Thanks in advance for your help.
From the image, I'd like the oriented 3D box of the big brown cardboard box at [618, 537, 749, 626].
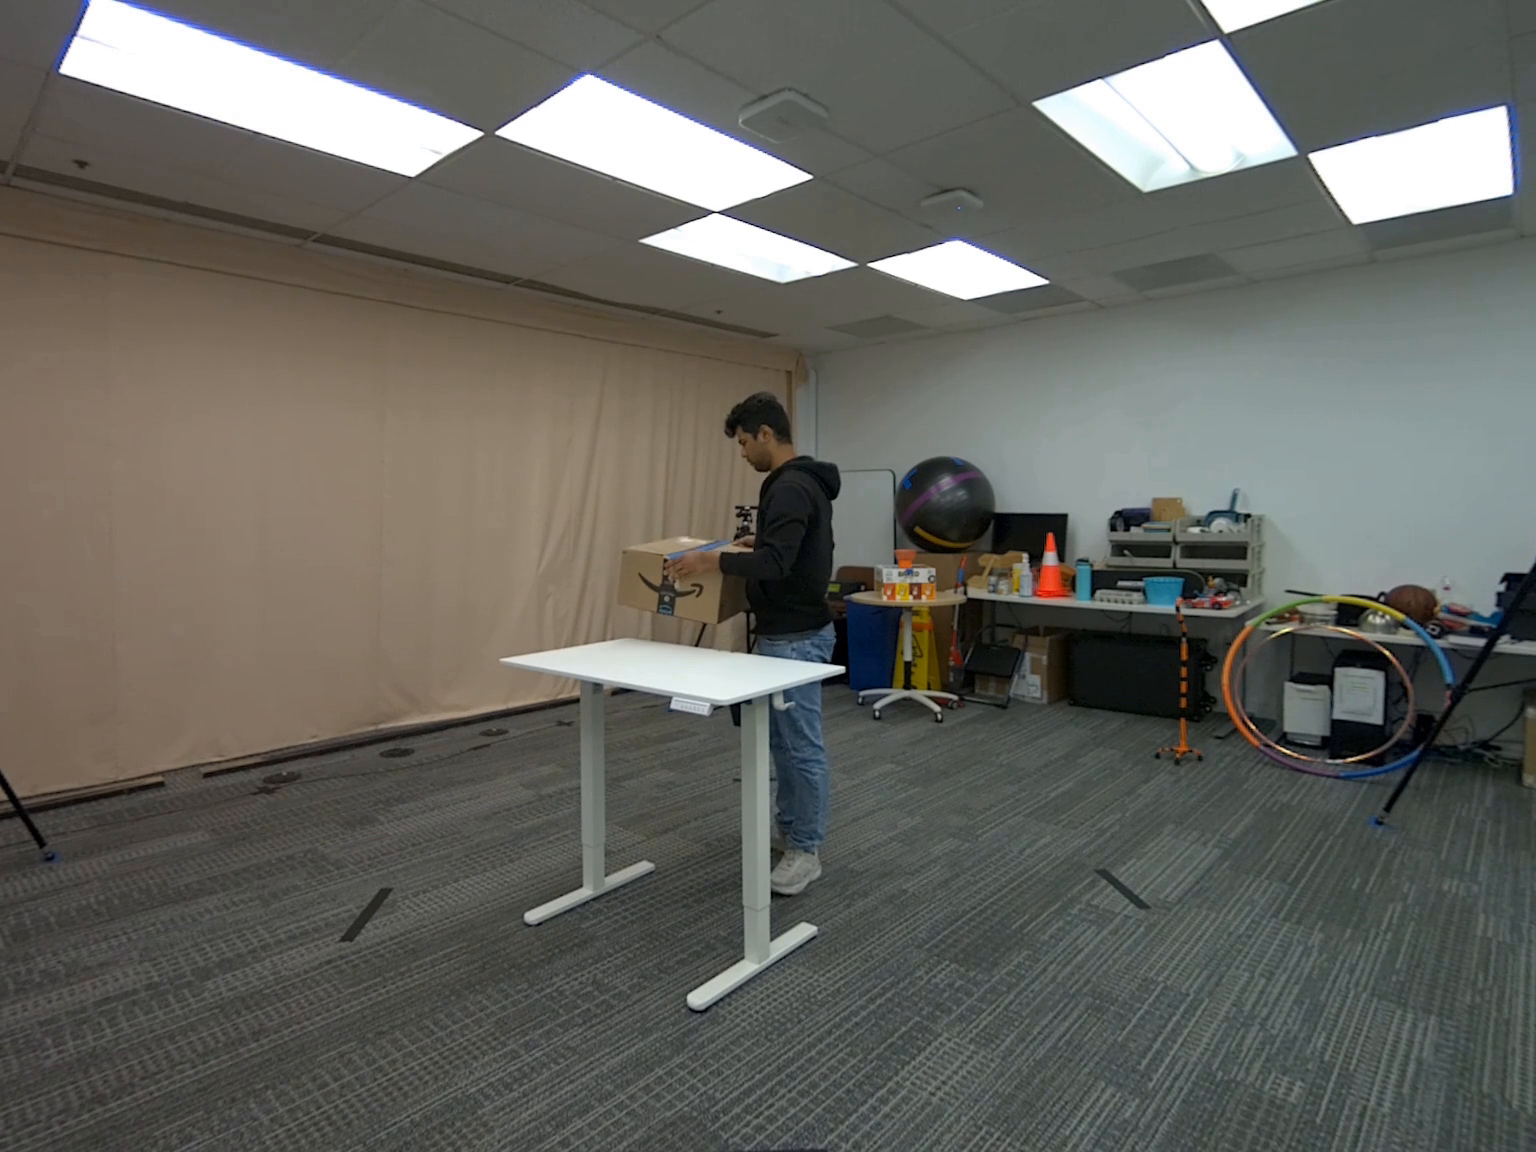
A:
[{"bbox_3d":[-0.276,0.004,3.372,0.426,0.232,0.579,9,11,18],"label":"big brown cardboard box"}]
